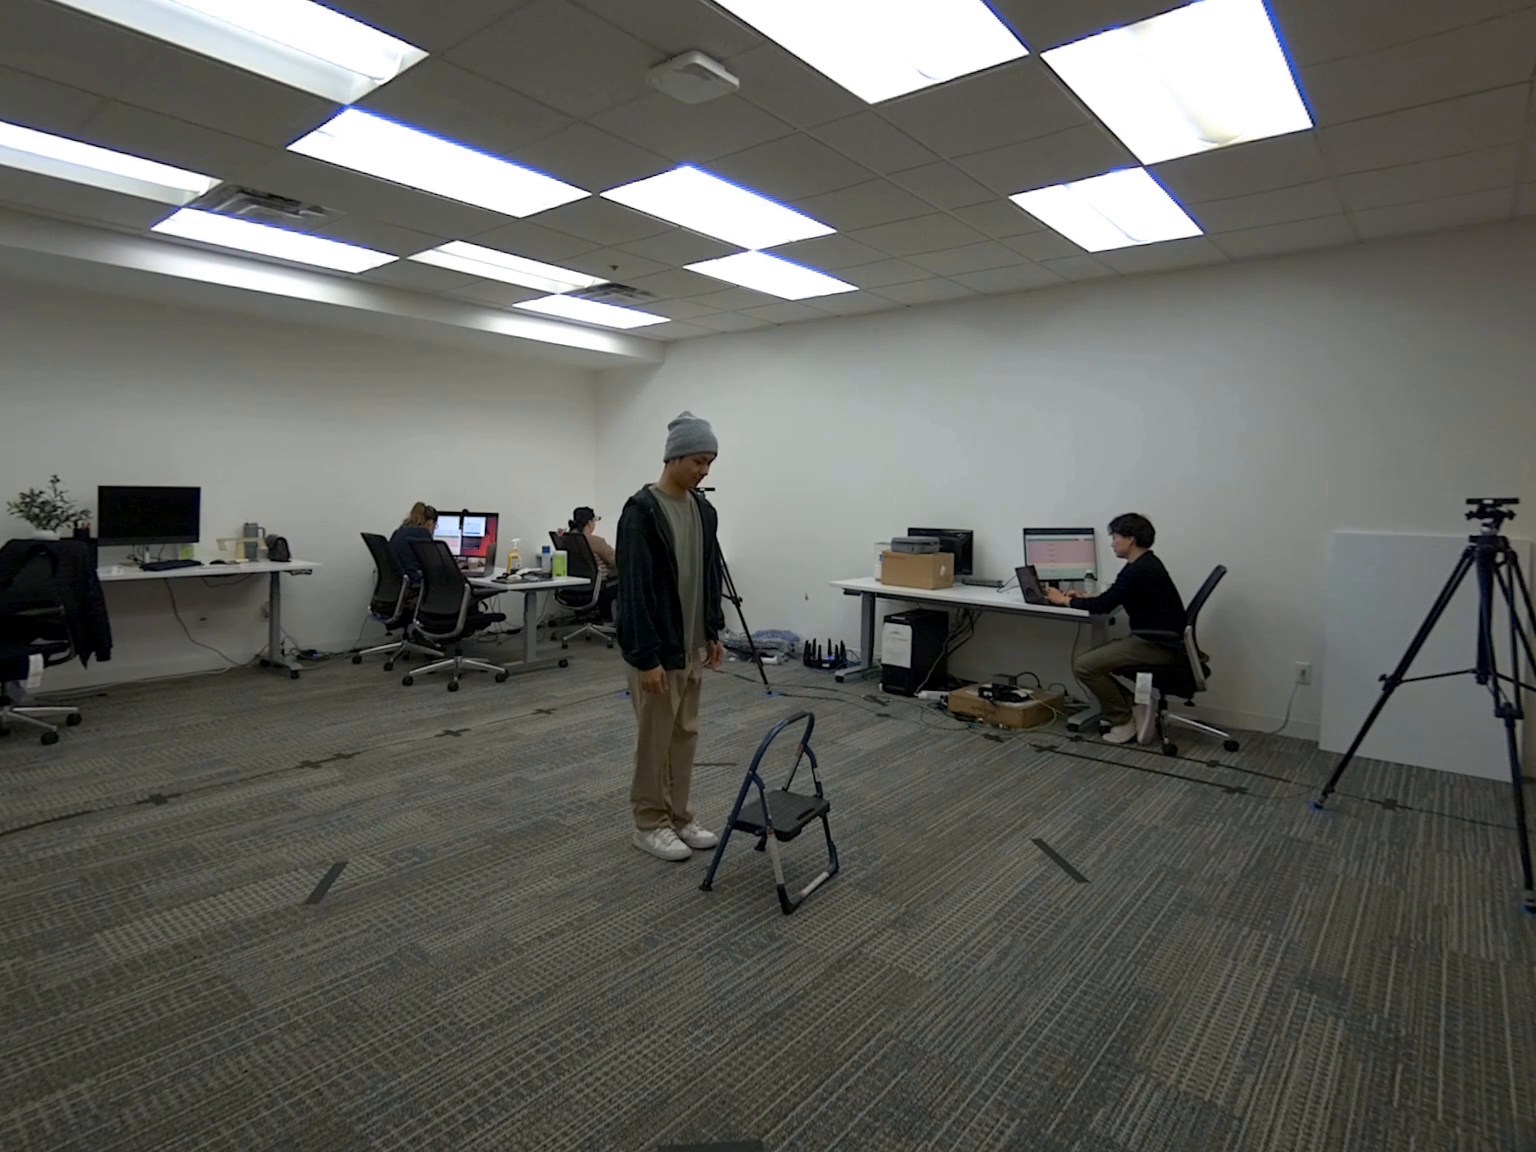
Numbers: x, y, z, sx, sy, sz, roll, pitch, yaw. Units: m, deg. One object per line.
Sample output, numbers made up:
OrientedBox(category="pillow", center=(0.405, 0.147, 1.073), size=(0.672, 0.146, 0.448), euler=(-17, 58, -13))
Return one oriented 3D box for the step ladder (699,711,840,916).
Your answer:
OrientedBox(category="step ladder", center=(0.014, 0.776, 3.018), size=(0.359, 0.604, 0.419), euler=(3, 4, 29))
